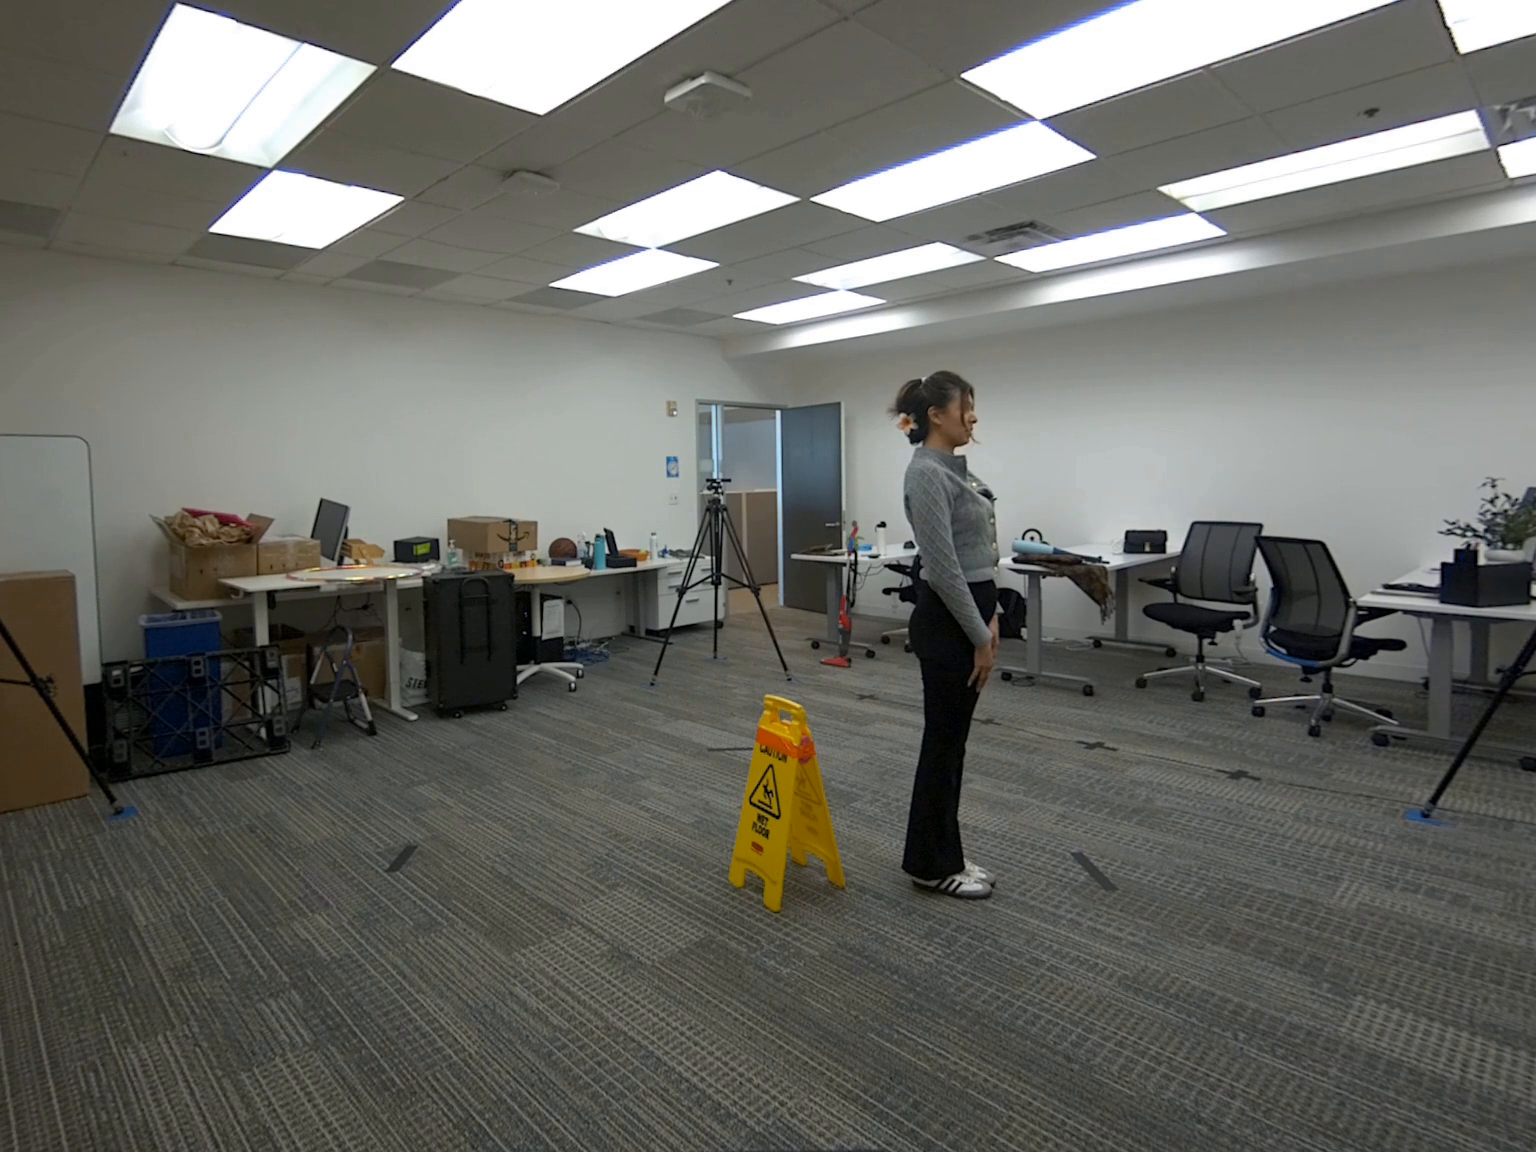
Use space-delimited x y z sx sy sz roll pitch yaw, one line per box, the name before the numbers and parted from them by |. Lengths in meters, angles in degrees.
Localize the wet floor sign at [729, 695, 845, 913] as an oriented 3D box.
wet floor sign | 0.061 0.741 2.920 0.282 0.644 0.290 -4 5 -36
